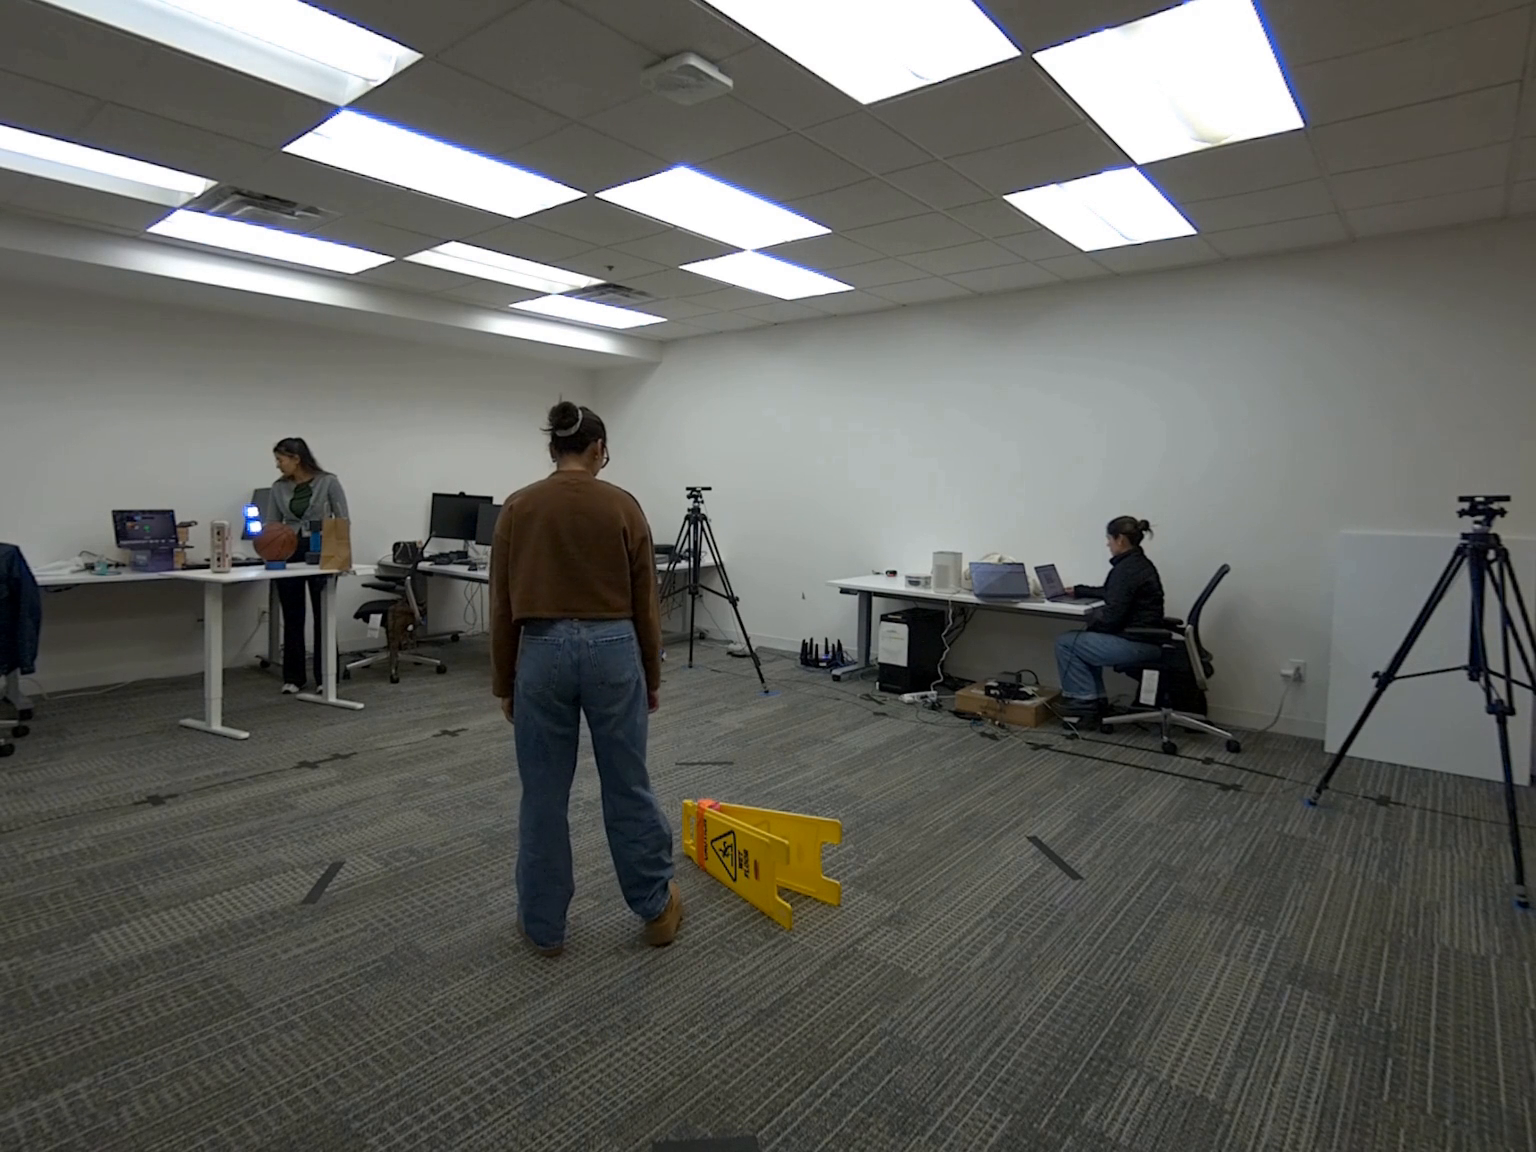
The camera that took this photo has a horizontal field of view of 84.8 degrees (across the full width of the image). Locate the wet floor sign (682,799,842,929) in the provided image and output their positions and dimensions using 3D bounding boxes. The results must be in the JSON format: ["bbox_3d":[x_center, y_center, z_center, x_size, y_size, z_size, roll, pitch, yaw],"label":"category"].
[{"bbox_3d":[-0.094,0.954,2.989,0.667,0.282,0.281,2,3,44],"label":"wet floor sign"}]
